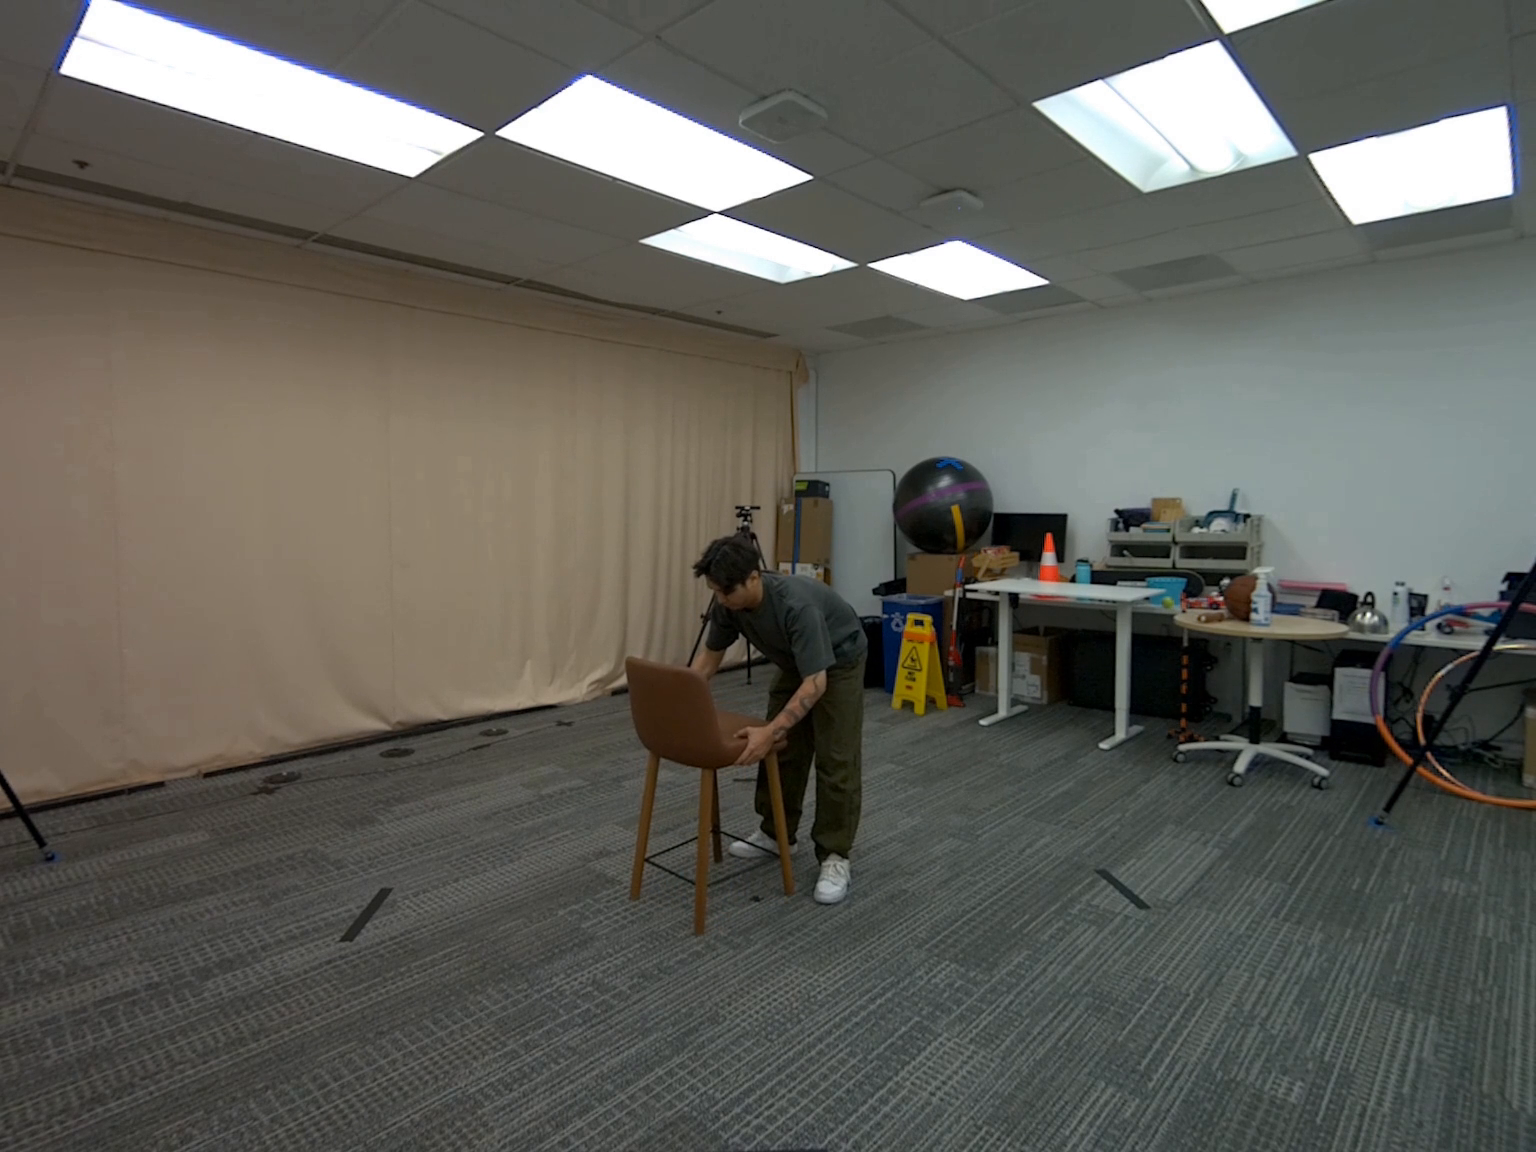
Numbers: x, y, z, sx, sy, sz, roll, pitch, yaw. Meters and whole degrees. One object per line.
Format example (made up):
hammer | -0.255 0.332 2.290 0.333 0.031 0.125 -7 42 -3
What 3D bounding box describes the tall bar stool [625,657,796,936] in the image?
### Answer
tall bar stool | -0.207 0.708 2.980 0.454 0.887 0.472 -6 6 -44
